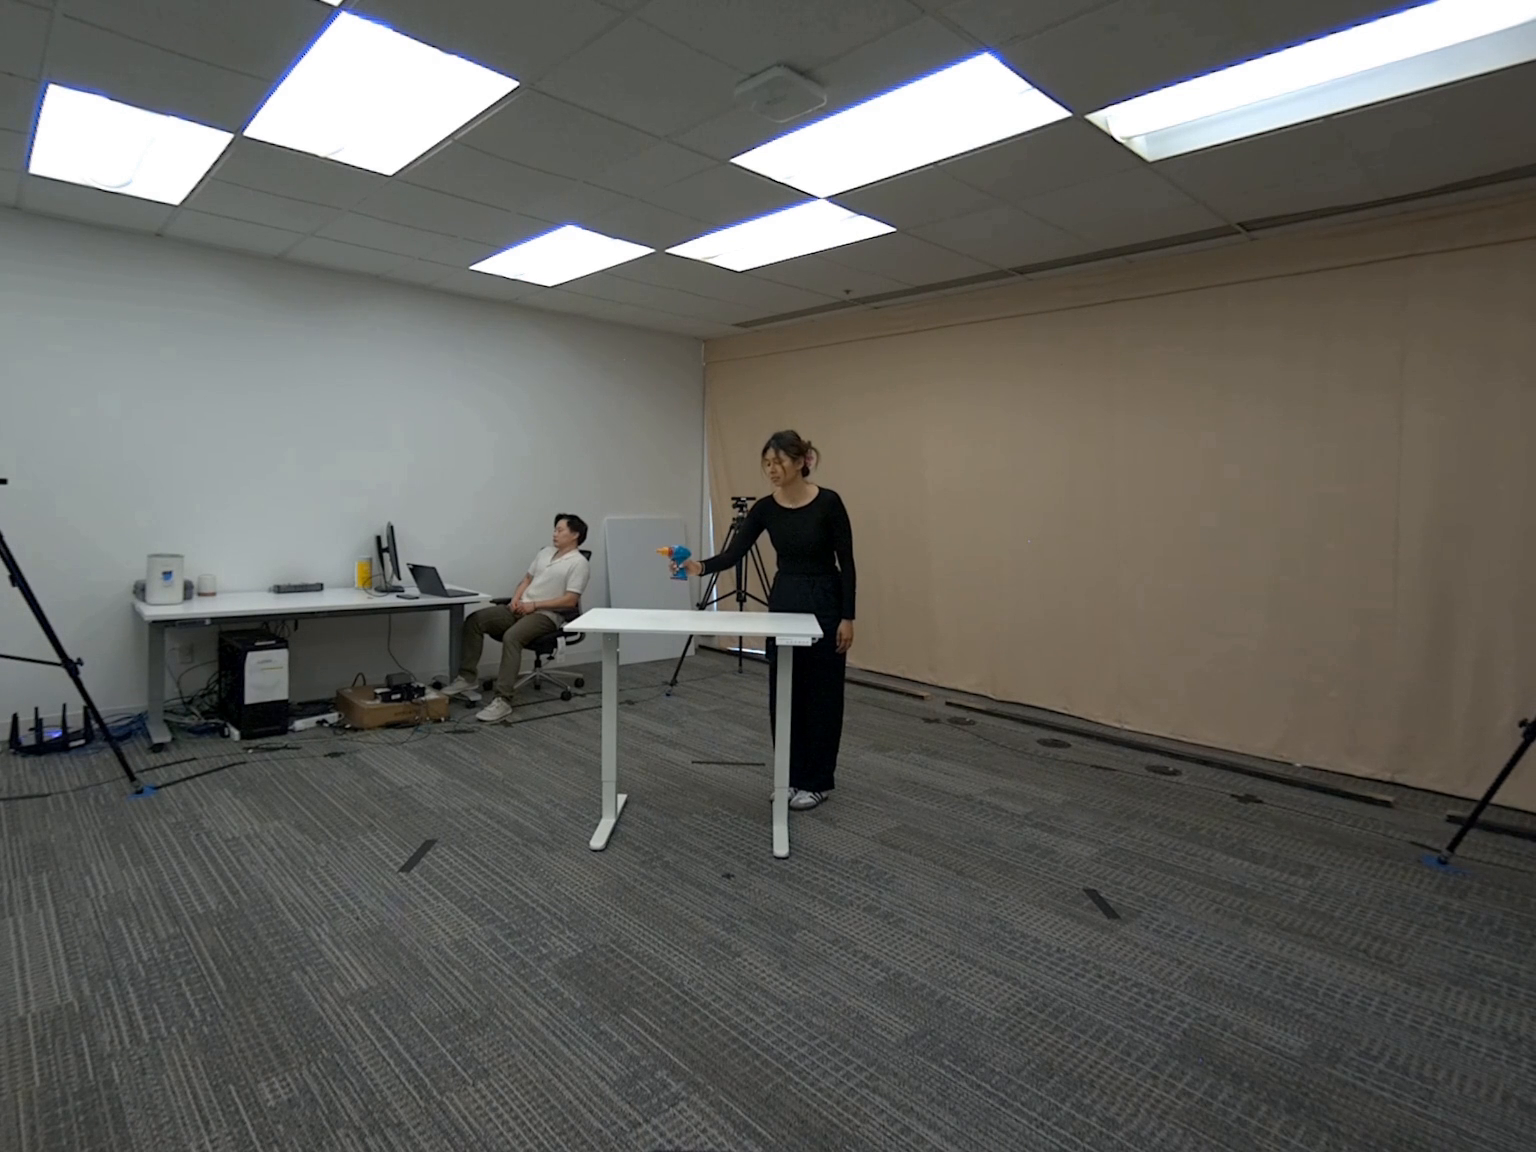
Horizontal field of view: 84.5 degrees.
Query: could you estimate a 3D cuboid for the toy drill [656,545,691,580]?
[{"bbox_3d":[-0.394,-0.058,3.476,0.166,0.146,0.062,5,-3,-37],"label":"toy drill"}]
